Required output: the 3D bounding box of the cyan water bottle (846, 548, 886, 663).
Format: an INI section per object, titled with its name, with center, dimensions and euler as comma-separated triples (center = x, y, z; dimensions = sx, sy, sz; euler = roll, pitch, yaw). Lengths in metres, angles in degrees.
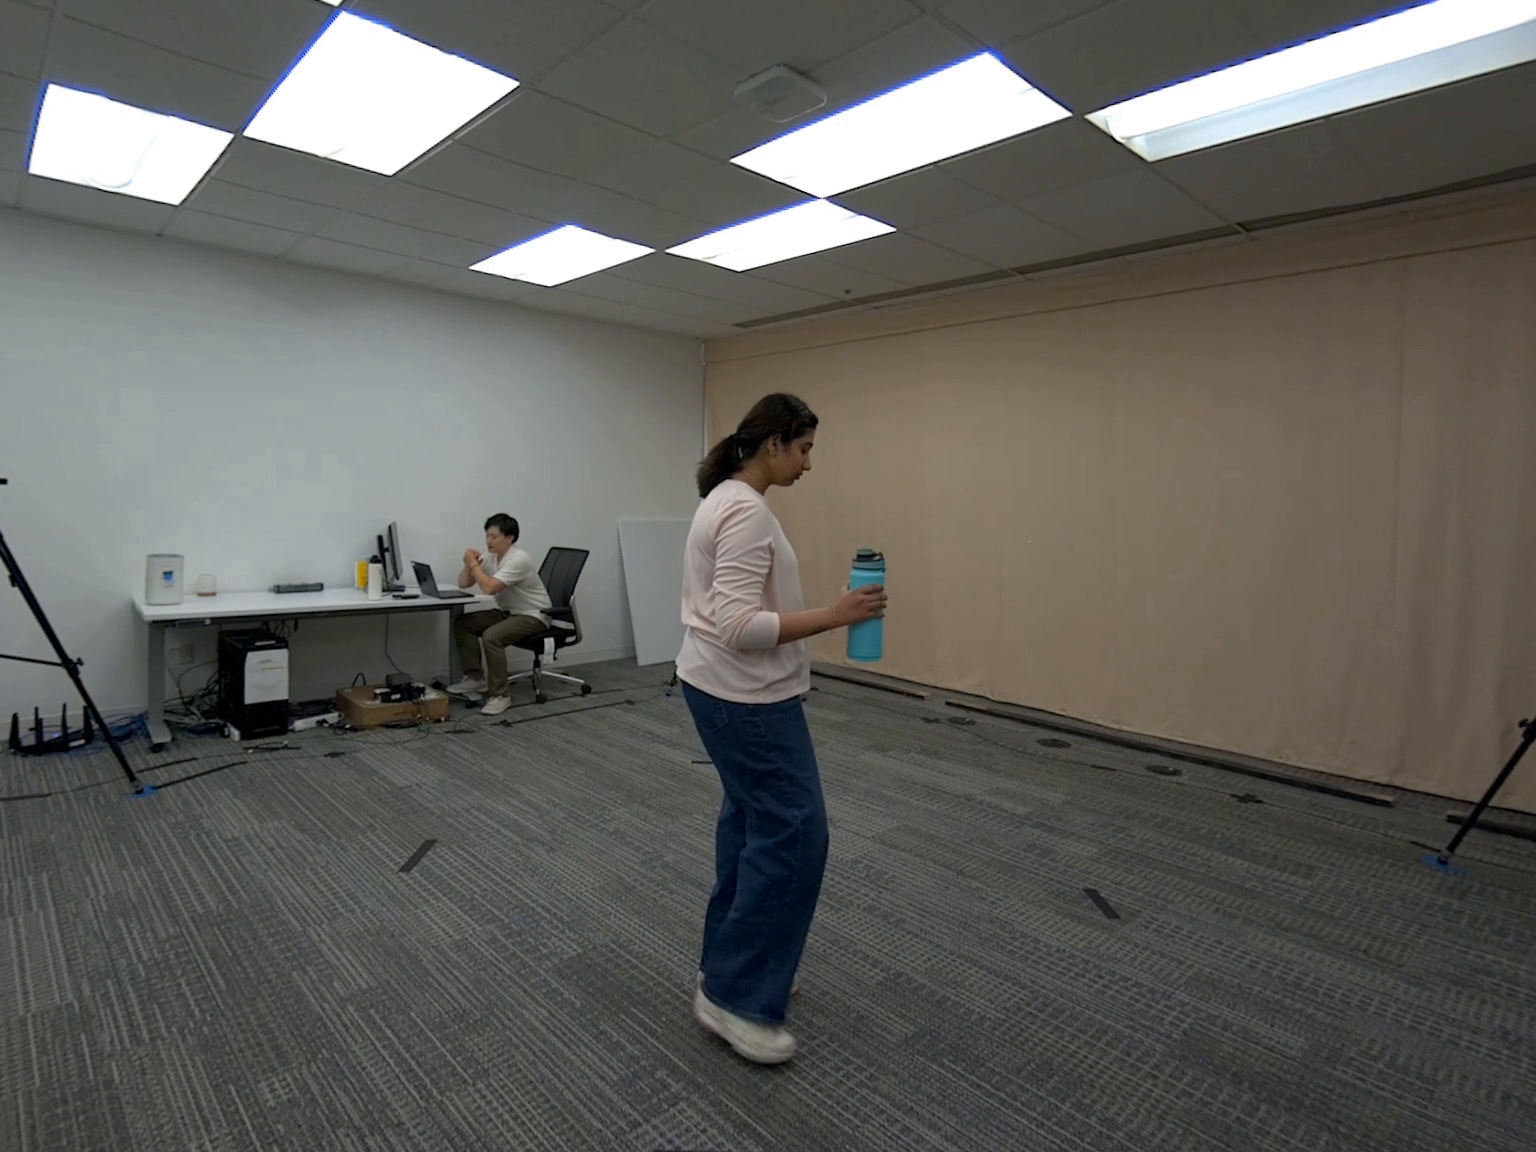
[cyan water bottle]
center = 0.243, 0.071, 2.125
dimensions = 0.092, 0.283, 0.092
euler = 3, 1, -1
